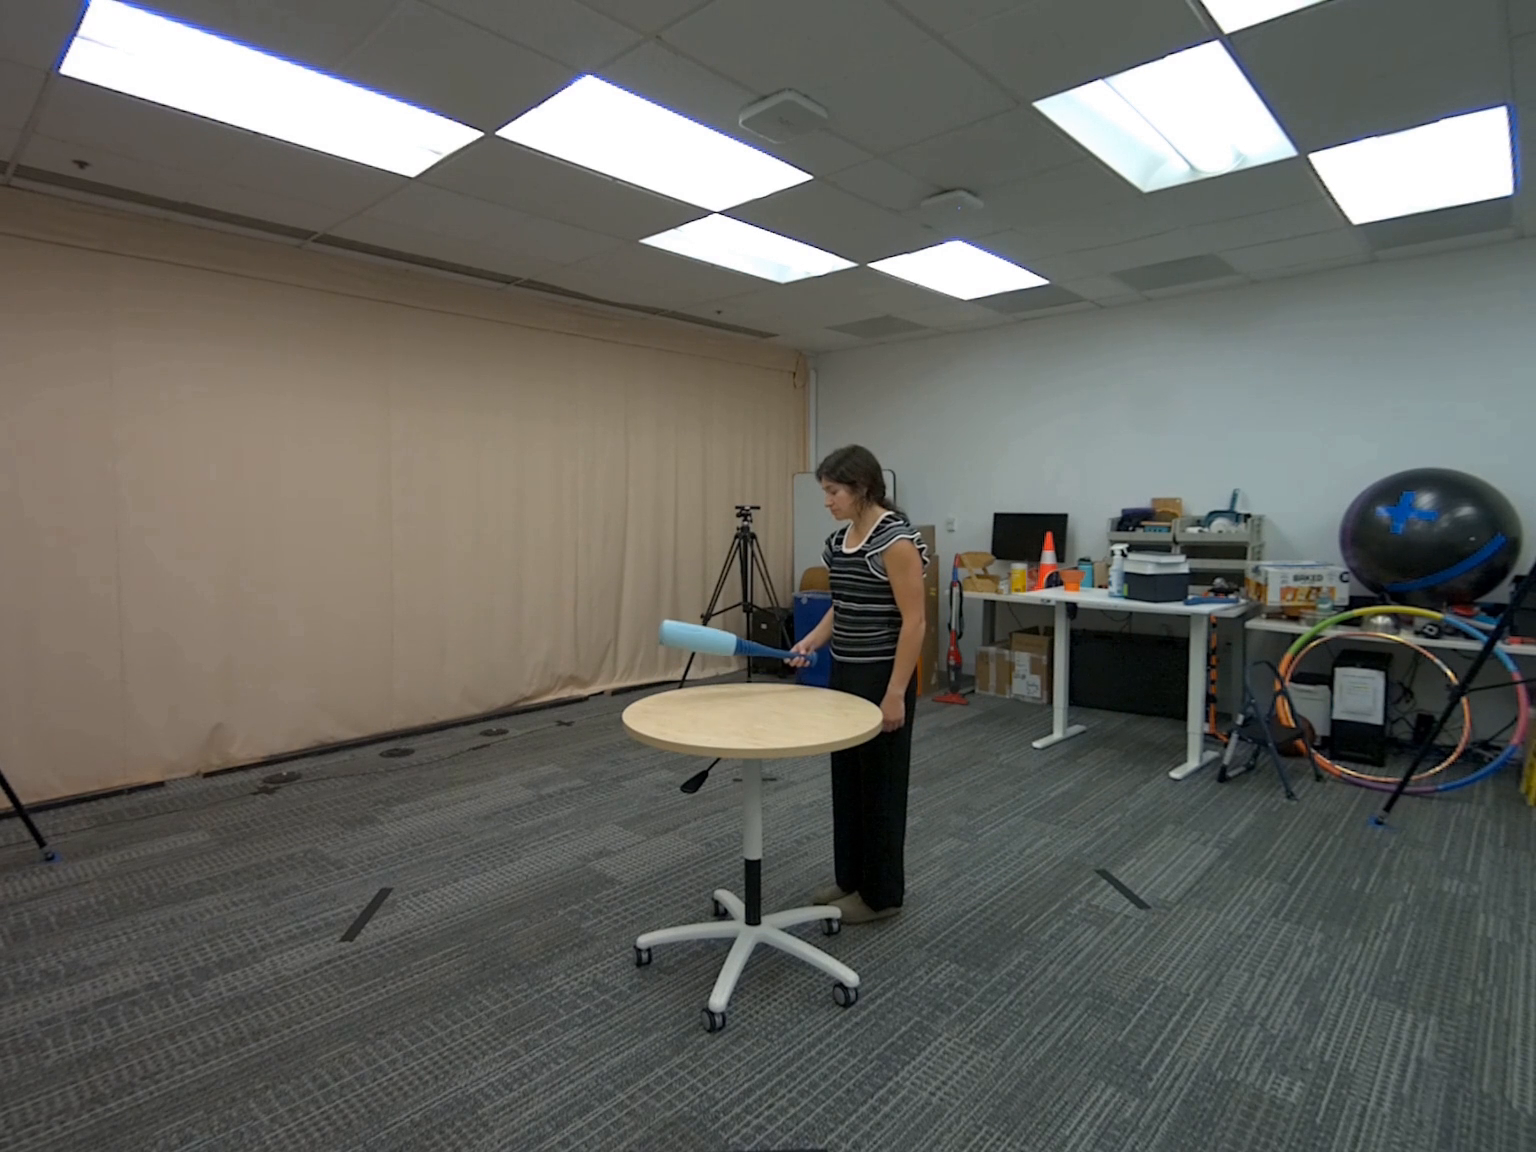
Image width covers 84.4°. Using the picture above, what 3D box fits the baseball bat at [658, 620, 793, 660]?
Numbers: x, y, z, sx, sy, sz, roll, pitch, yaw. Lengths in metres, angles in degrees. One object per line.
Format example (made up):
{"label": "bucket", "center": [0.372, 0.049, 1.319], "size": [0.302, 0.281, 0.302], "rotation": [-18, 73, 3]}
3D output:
{"label": "baseball bat", "center": [-0.087, 0.241, 2.765], "size": [0.538, 0.089, 0.090], "rotation": [12, 2, -7]}
